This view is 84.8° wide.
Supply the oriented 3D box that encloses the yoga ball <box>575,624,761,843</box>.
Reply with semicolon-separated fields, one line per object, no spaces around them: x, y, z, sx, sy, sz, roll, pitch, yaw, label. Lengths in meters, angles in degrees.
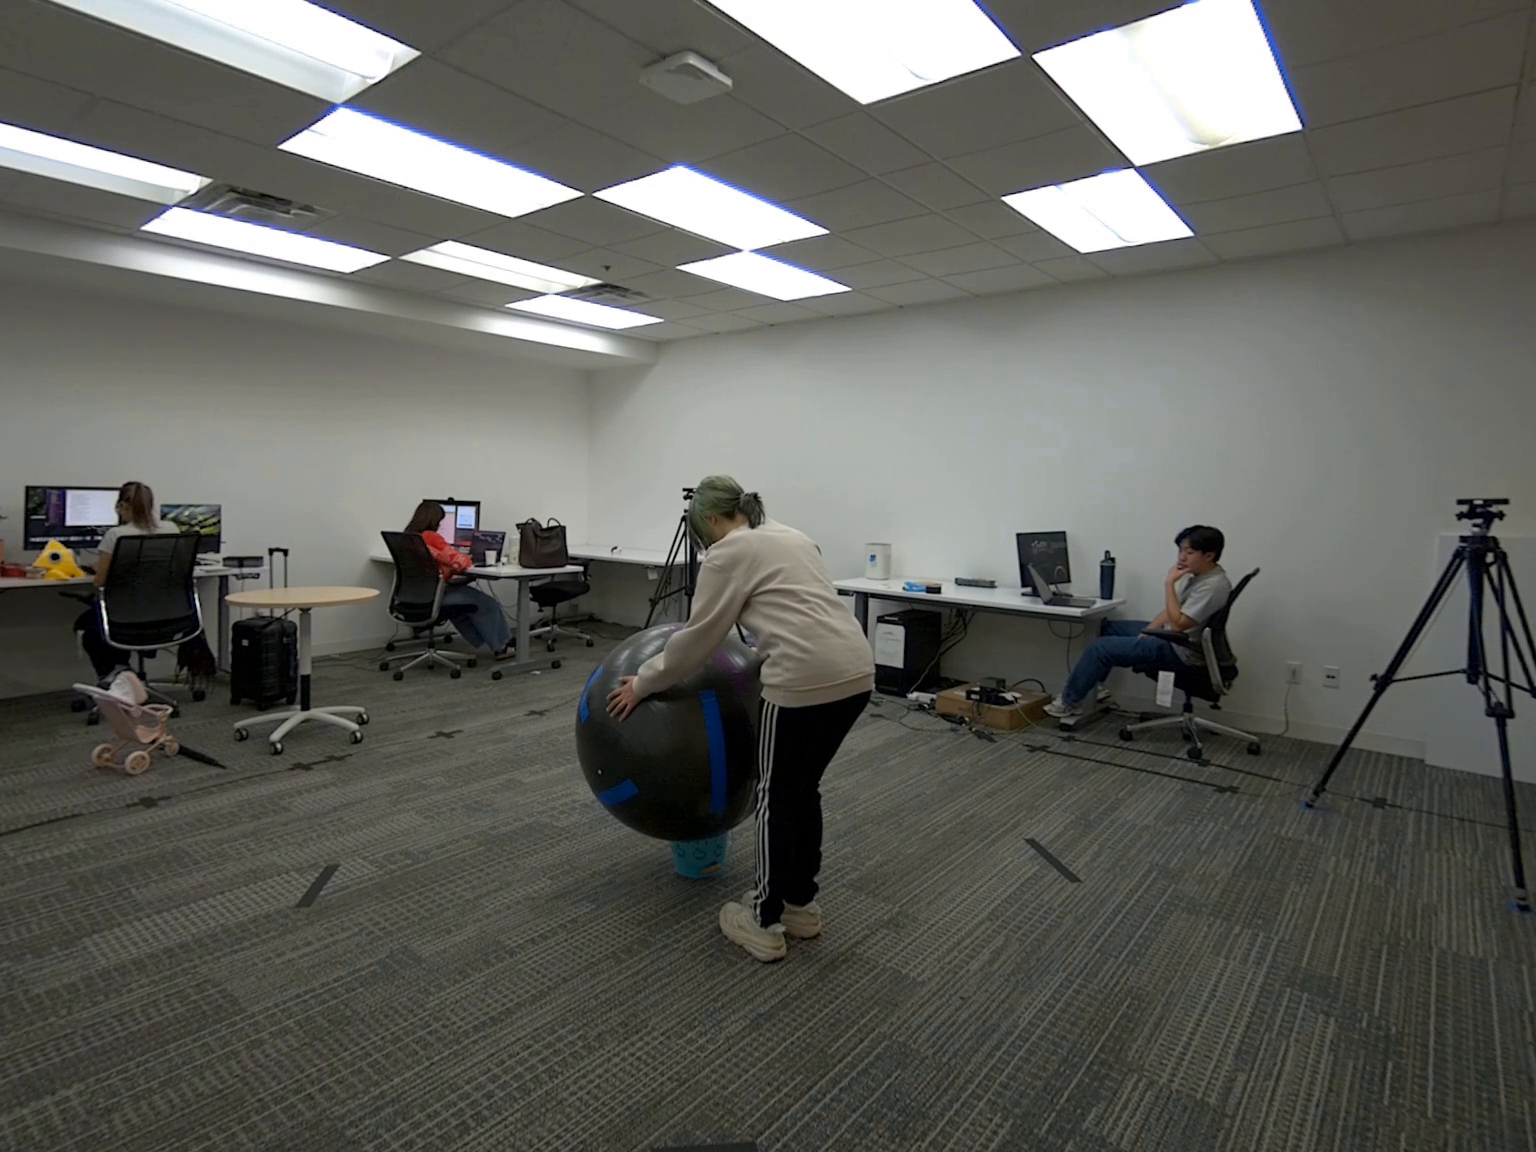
-0.318;0.547;3.052;0.757;0.755;0.762;1;4;-2;yoga ball
